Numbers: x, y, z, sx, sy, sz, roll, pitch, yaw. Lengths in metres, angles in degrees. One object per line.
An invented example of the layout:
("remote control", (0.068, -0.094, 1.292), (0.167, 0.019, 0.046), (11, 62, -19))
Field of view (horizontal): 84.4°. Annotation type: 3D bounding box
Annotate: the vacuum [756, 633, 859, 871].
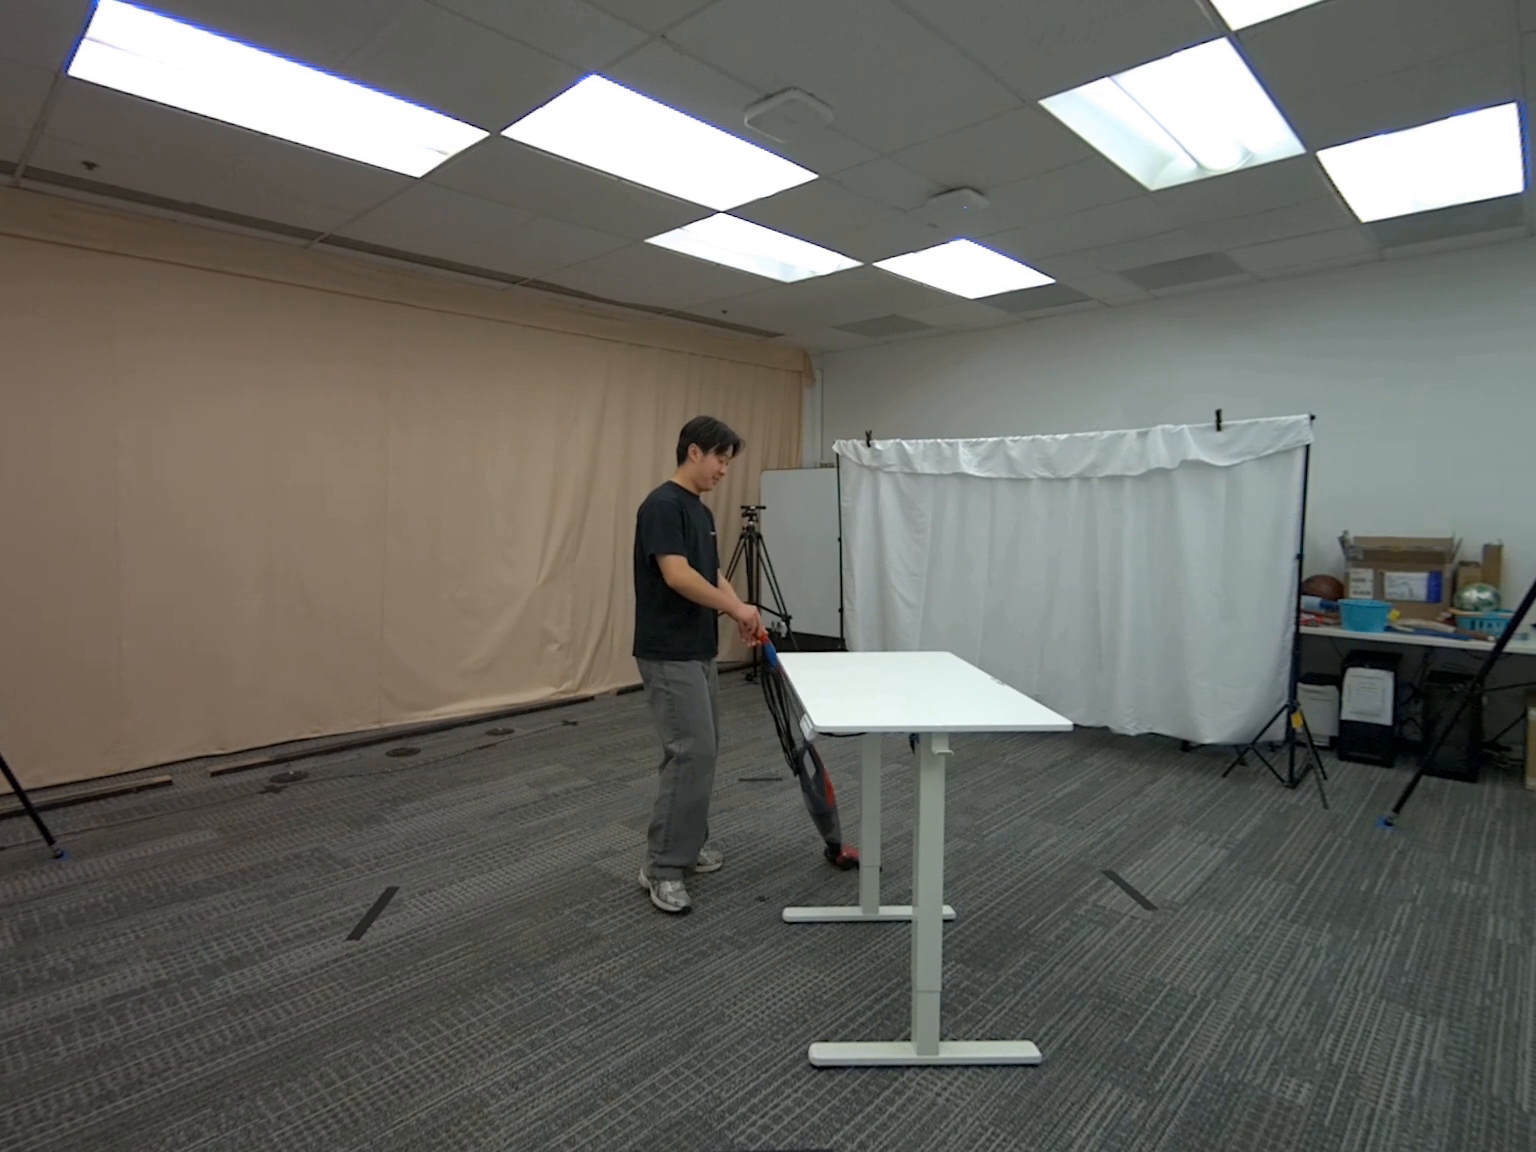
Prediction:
("vacuum", (0.123, 0.652, 3.163), (0.142, 1.034, 0.260), (-31, 16, -25))
